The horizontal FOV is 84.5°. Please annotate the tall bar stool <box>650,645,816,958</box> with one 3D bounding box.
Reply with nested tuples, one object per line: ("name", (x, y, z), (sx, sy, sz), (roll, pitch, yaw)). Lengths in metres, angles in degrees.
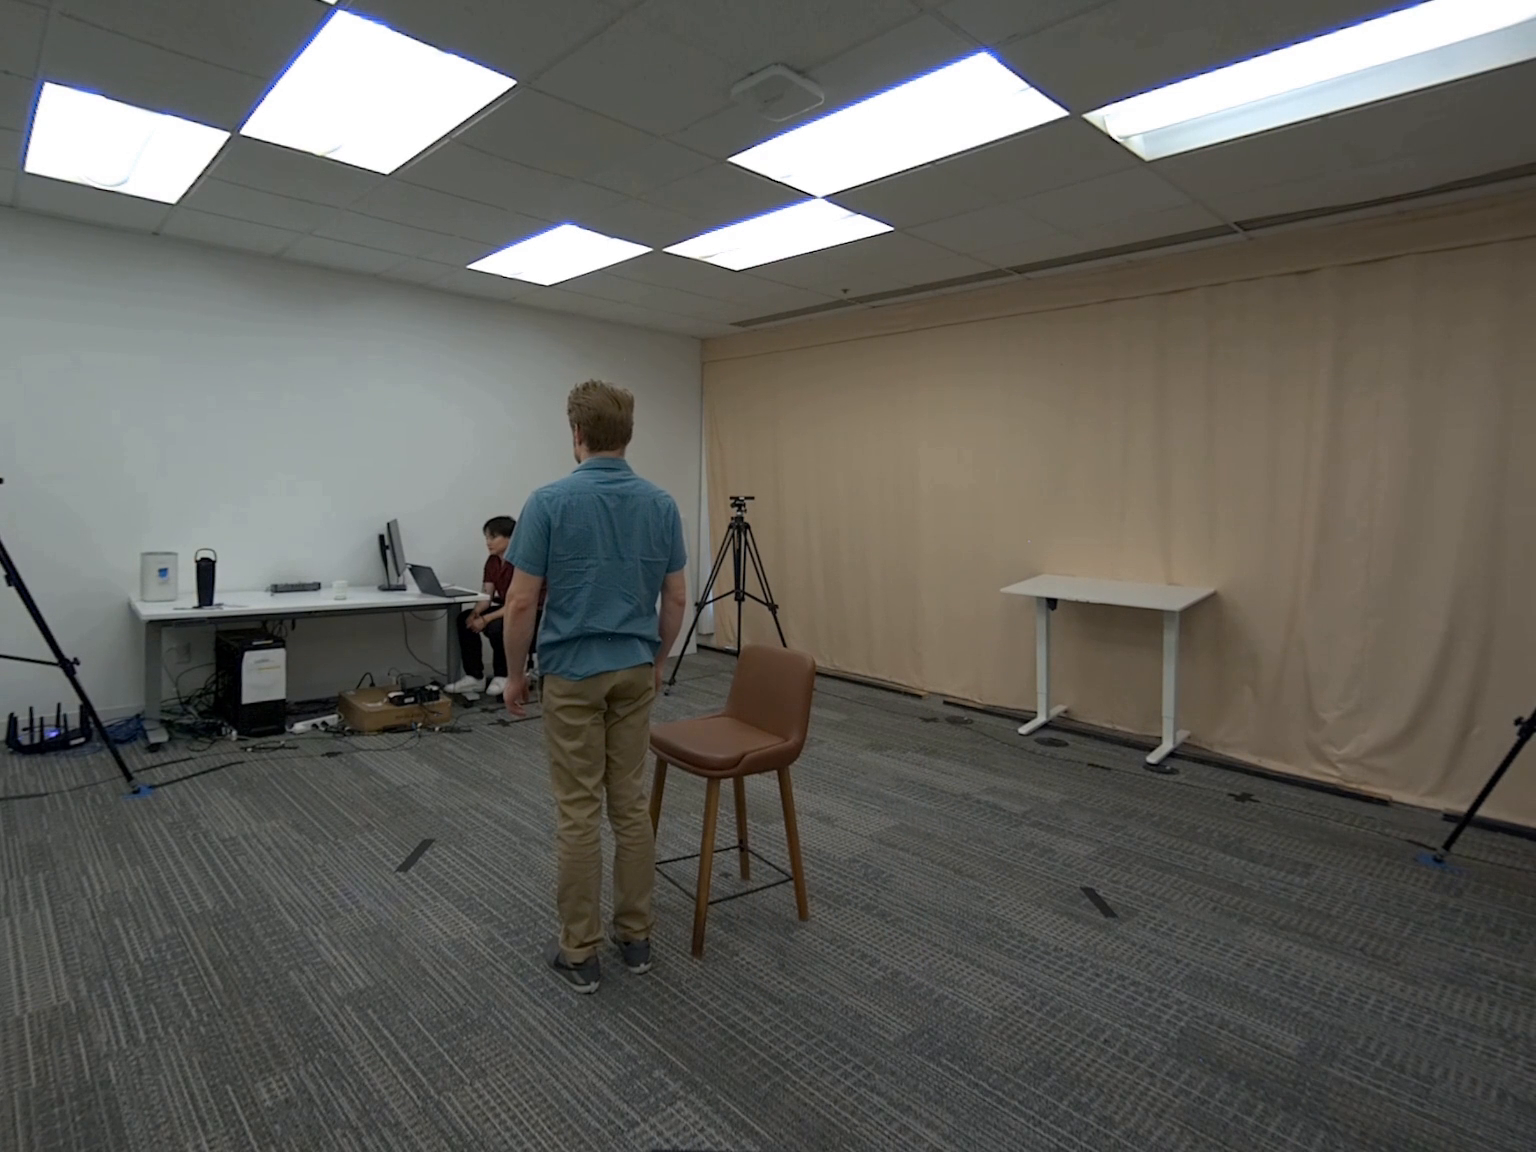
("tall bar stool", (-0.142, 0.696, 2.803), (0.457, 0.888, 0.467), (1, 3, -34))
